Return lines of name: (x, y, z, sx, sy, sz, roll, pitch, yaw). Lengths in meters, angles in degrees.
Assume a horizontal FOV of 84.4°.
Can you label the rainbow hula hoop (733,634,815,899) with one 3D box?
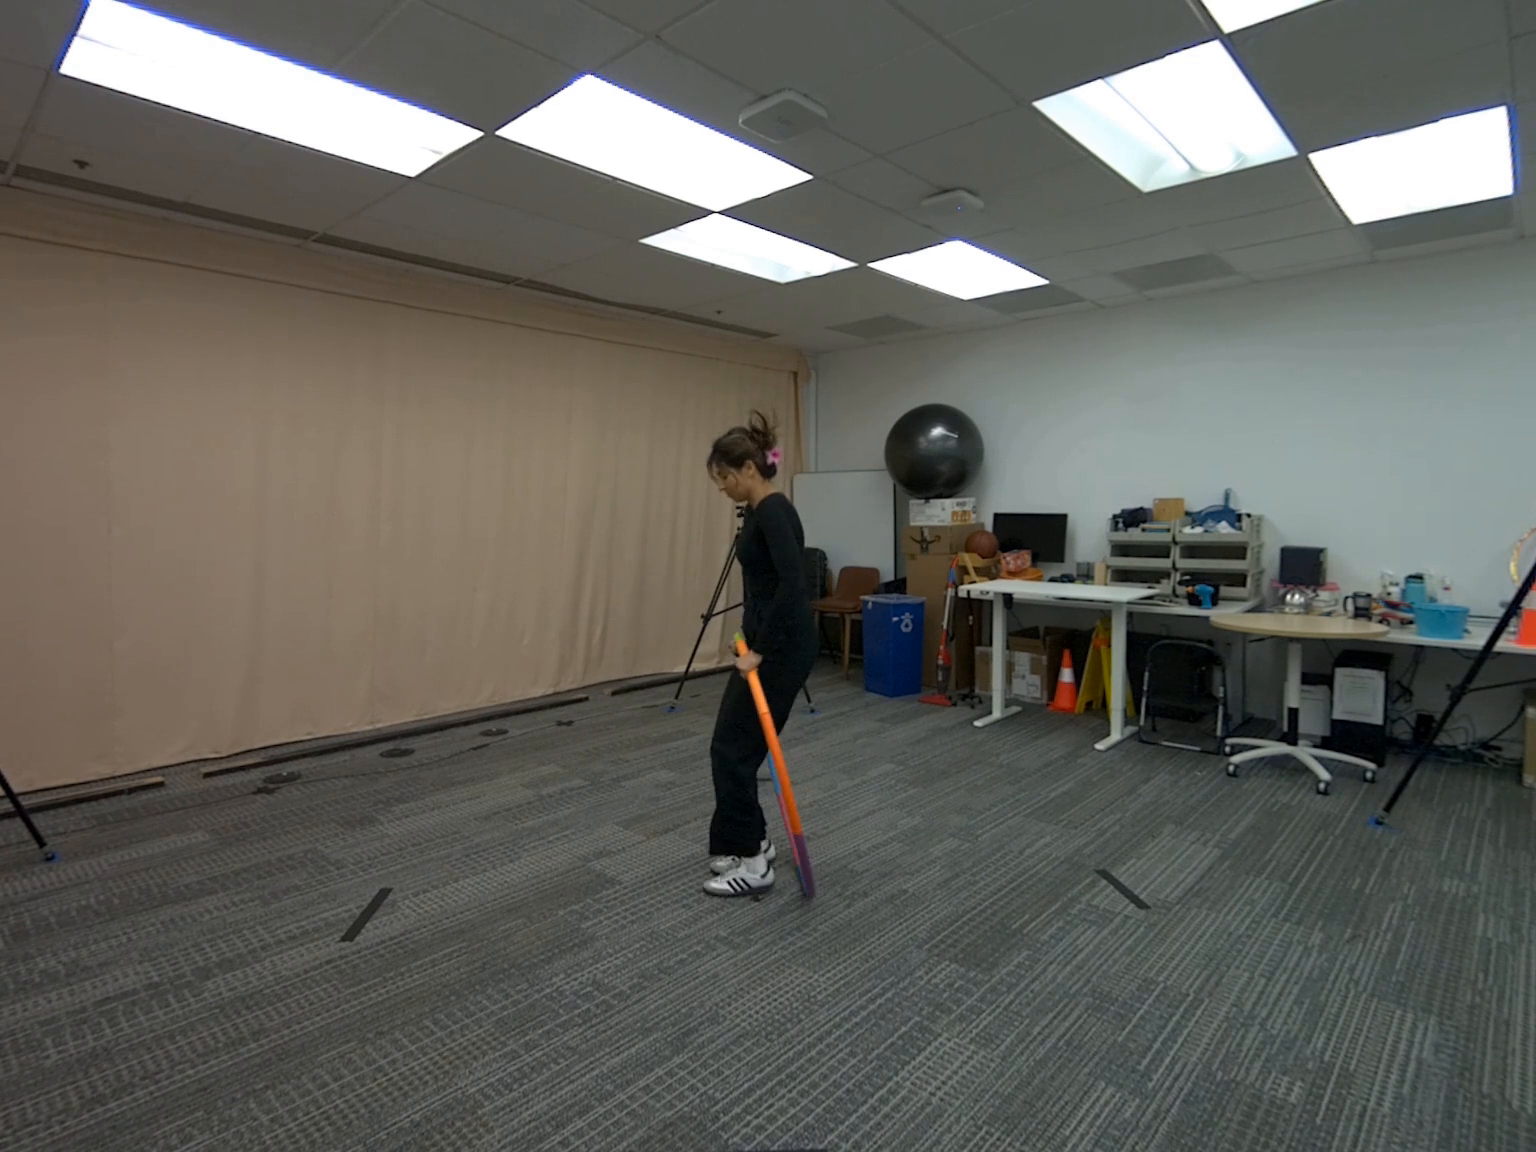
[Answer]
rainbow hula hoop: (-0.001, 0.666, 3.075, 0.035, 0.975, 0.984, -17, 5, -3)
